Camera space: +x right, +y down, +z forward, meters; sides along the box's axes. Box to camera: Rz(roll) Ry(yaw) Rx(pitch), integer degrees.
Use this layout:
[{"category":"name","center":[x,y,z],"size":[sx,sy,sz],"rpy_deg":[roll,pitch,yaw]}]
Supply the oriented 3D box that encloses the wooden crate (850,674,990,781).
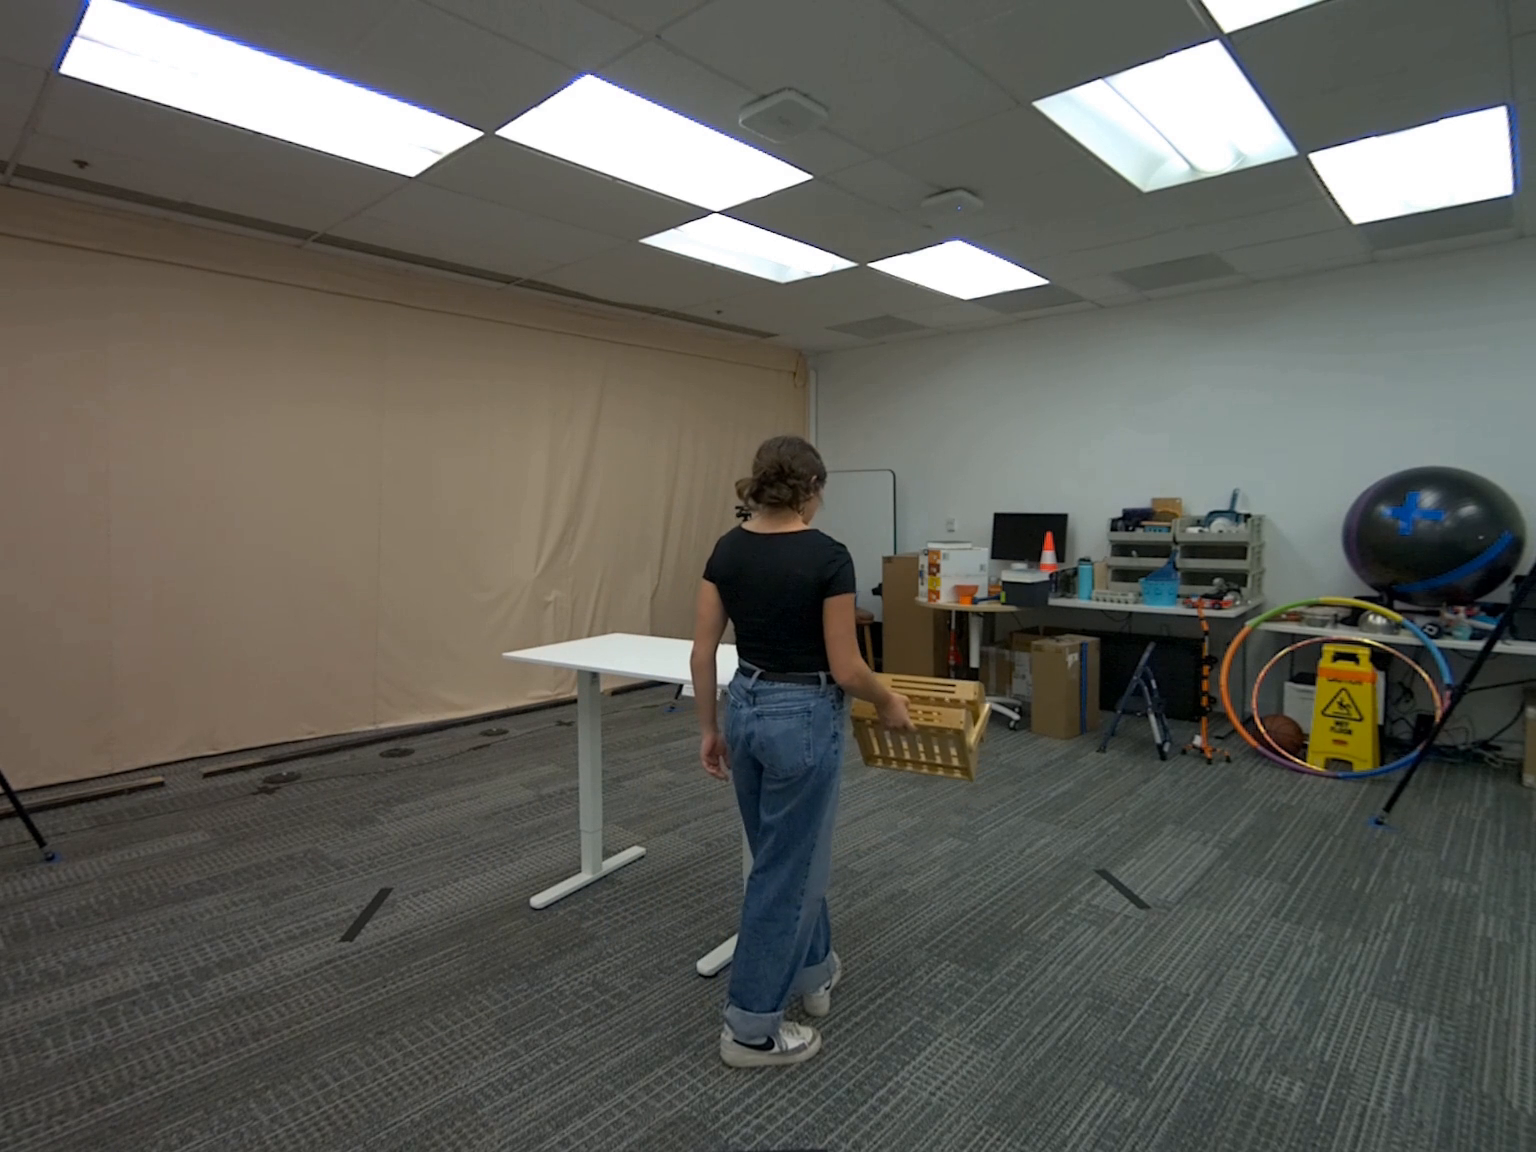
[{"category":"wooden crate","center":[0.441,0.383,2.356],"size":[0.333,0.294,0.273],"rpy_deg":[2,42,26]}]
